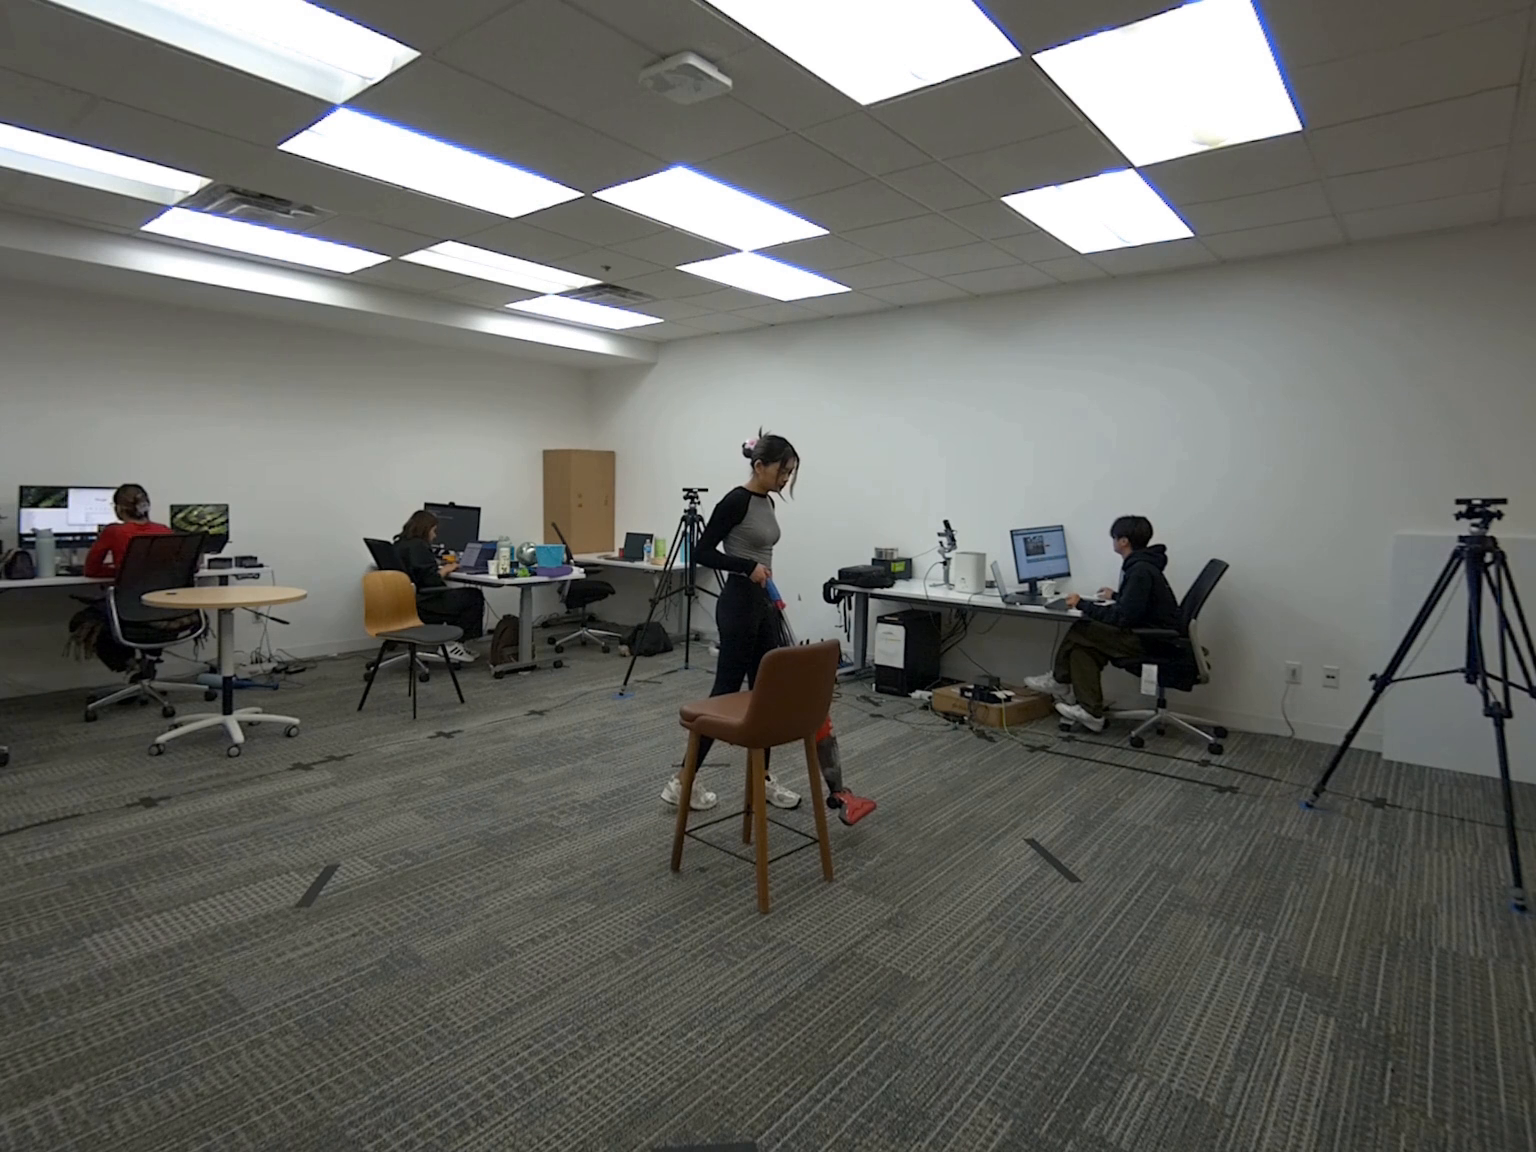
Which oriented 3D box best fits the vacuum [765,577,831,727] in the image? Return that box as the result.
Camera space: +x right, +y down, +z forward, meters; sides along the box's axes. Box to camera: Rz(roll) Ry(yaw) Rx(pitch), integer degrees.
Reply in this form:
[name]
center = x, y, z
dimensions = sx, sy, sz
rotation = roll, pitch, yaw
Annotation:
[vacuum]
center = 0.137, 0.429, 3.491
dimensions = 0.146, 1.065, 0.245
rotation = -28, -13, 30
